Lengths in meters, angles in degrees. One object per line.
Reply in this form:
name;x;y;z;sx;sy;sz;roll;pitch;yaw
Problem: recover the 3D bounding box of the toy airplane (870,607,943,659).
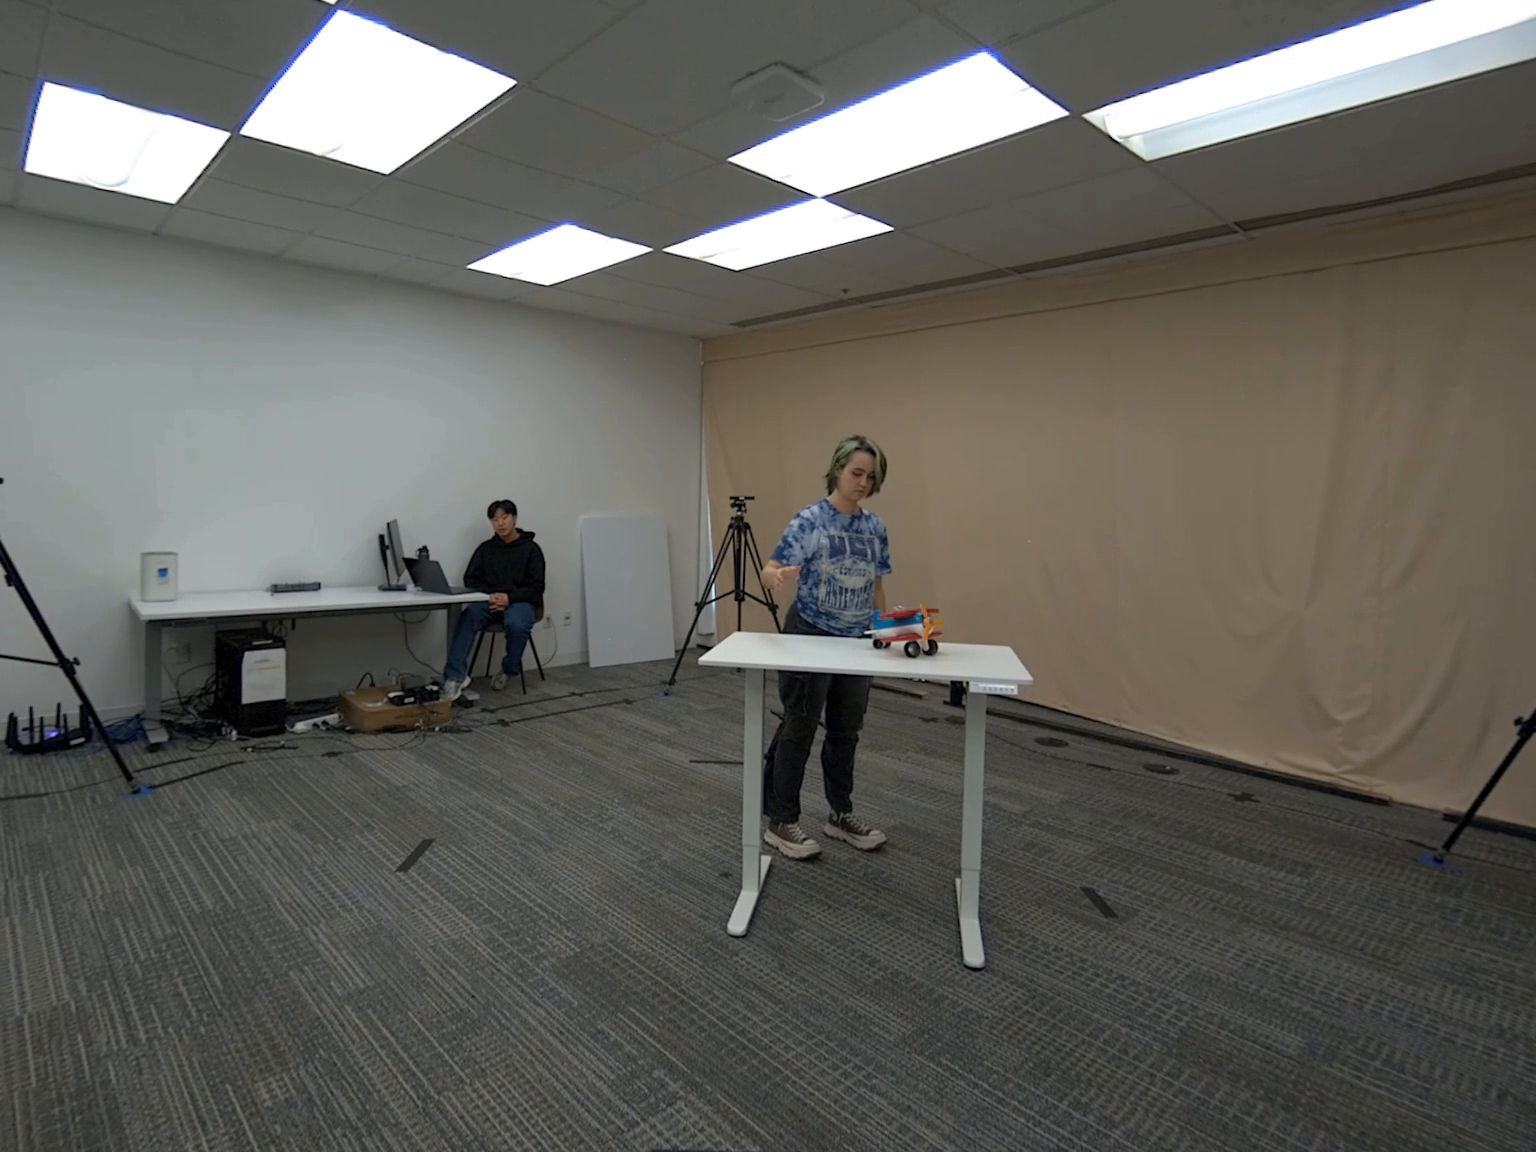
toy airplane;0.437;0.185;2.830;0.264;0.156;0.247;4;4;23
